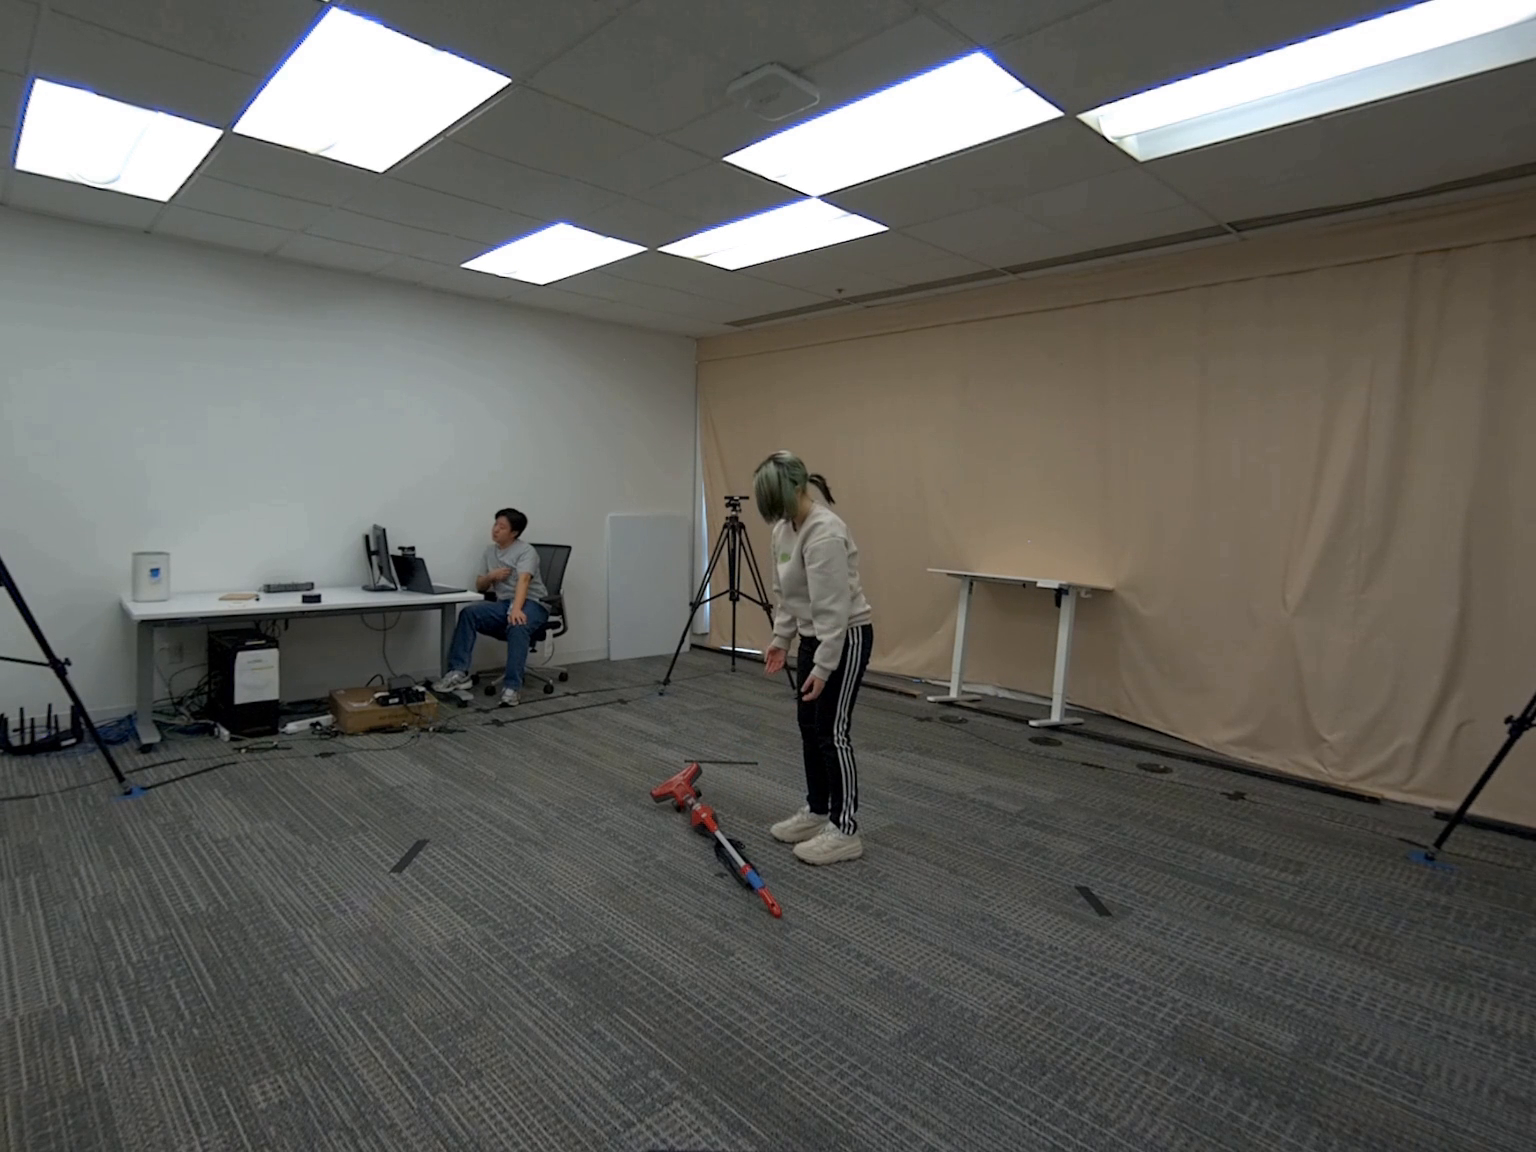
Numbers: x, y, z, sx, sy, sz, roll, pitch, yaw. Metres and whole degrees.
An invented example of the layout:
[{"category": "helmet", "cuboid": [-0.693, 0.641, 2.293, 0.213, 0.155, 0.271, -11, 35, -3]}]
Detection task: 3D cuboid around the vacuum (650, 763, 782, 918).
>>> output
[{"category": "vacuum", "cuboid": [-0.186, 1.037, 3.286, 0.251, 0.141, 1.072, -32, 20, -14]}]
